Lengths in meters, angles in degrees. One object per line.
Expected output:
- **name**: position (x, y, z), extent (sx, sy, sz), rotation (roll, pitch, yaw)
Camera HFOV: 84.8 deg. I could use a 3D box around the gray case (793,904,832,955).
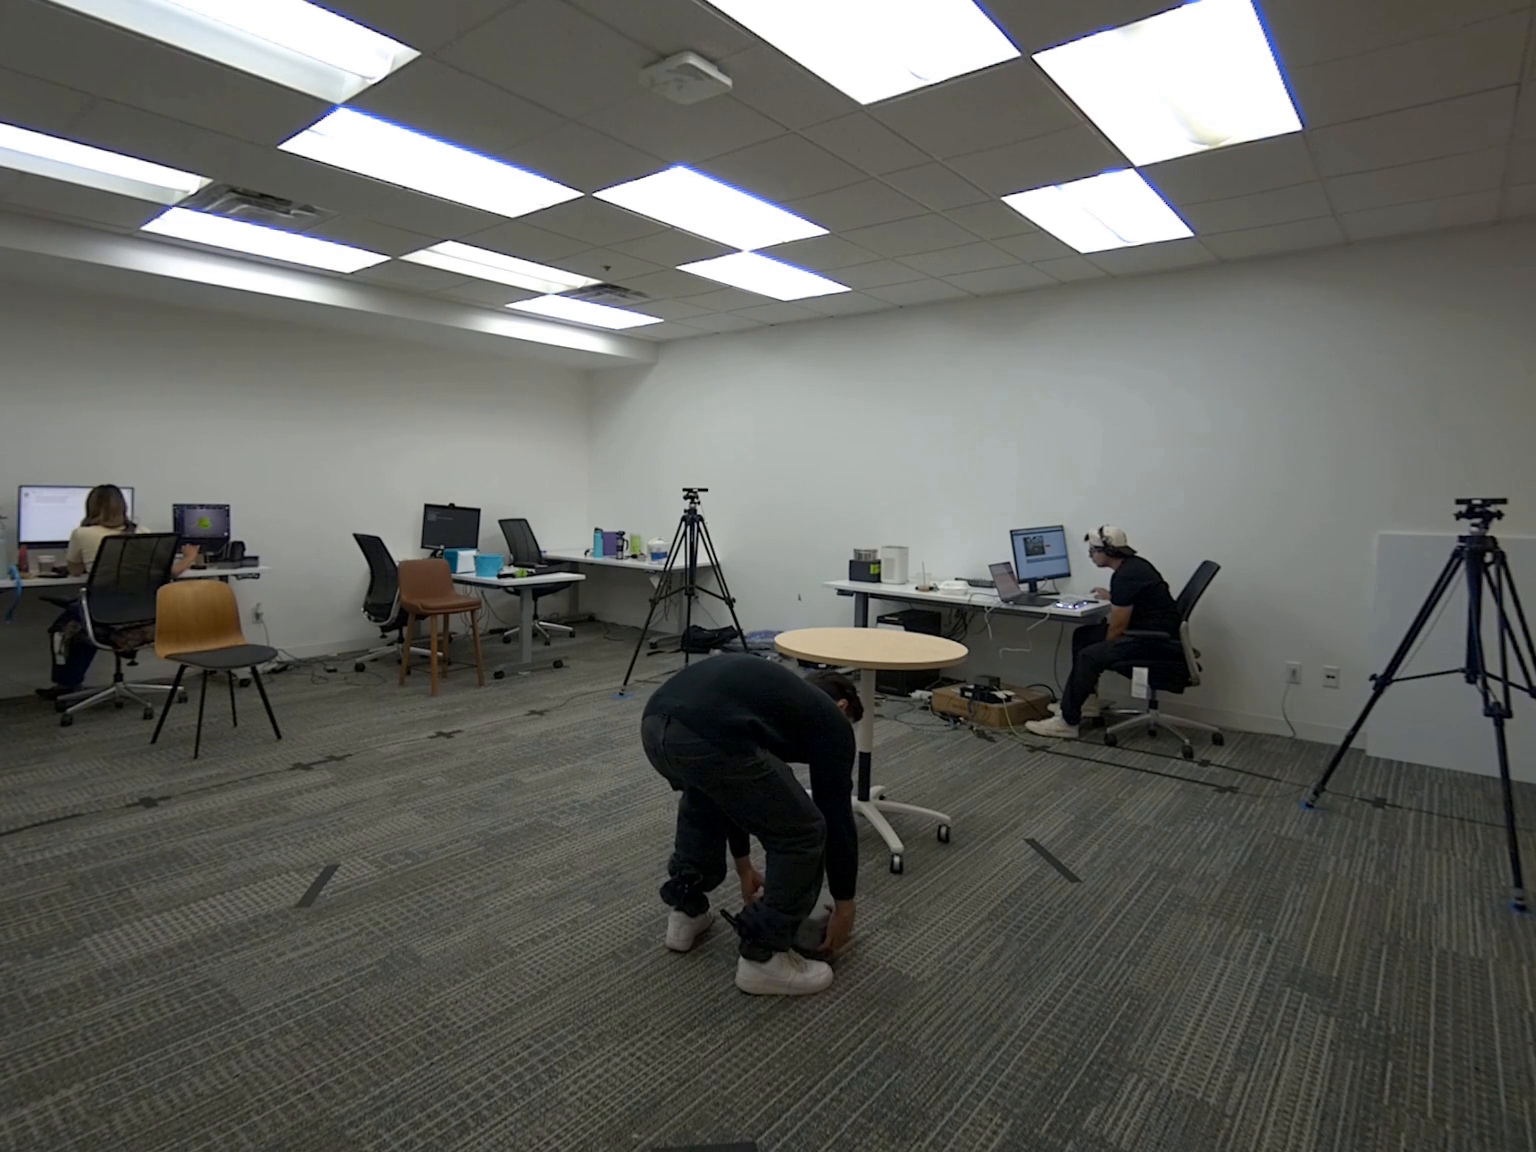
- **gray case**: position (0.108, 1.043, 2.642), extent (0.265, 0.104, 0.252), rotation (5, 2, 39)
